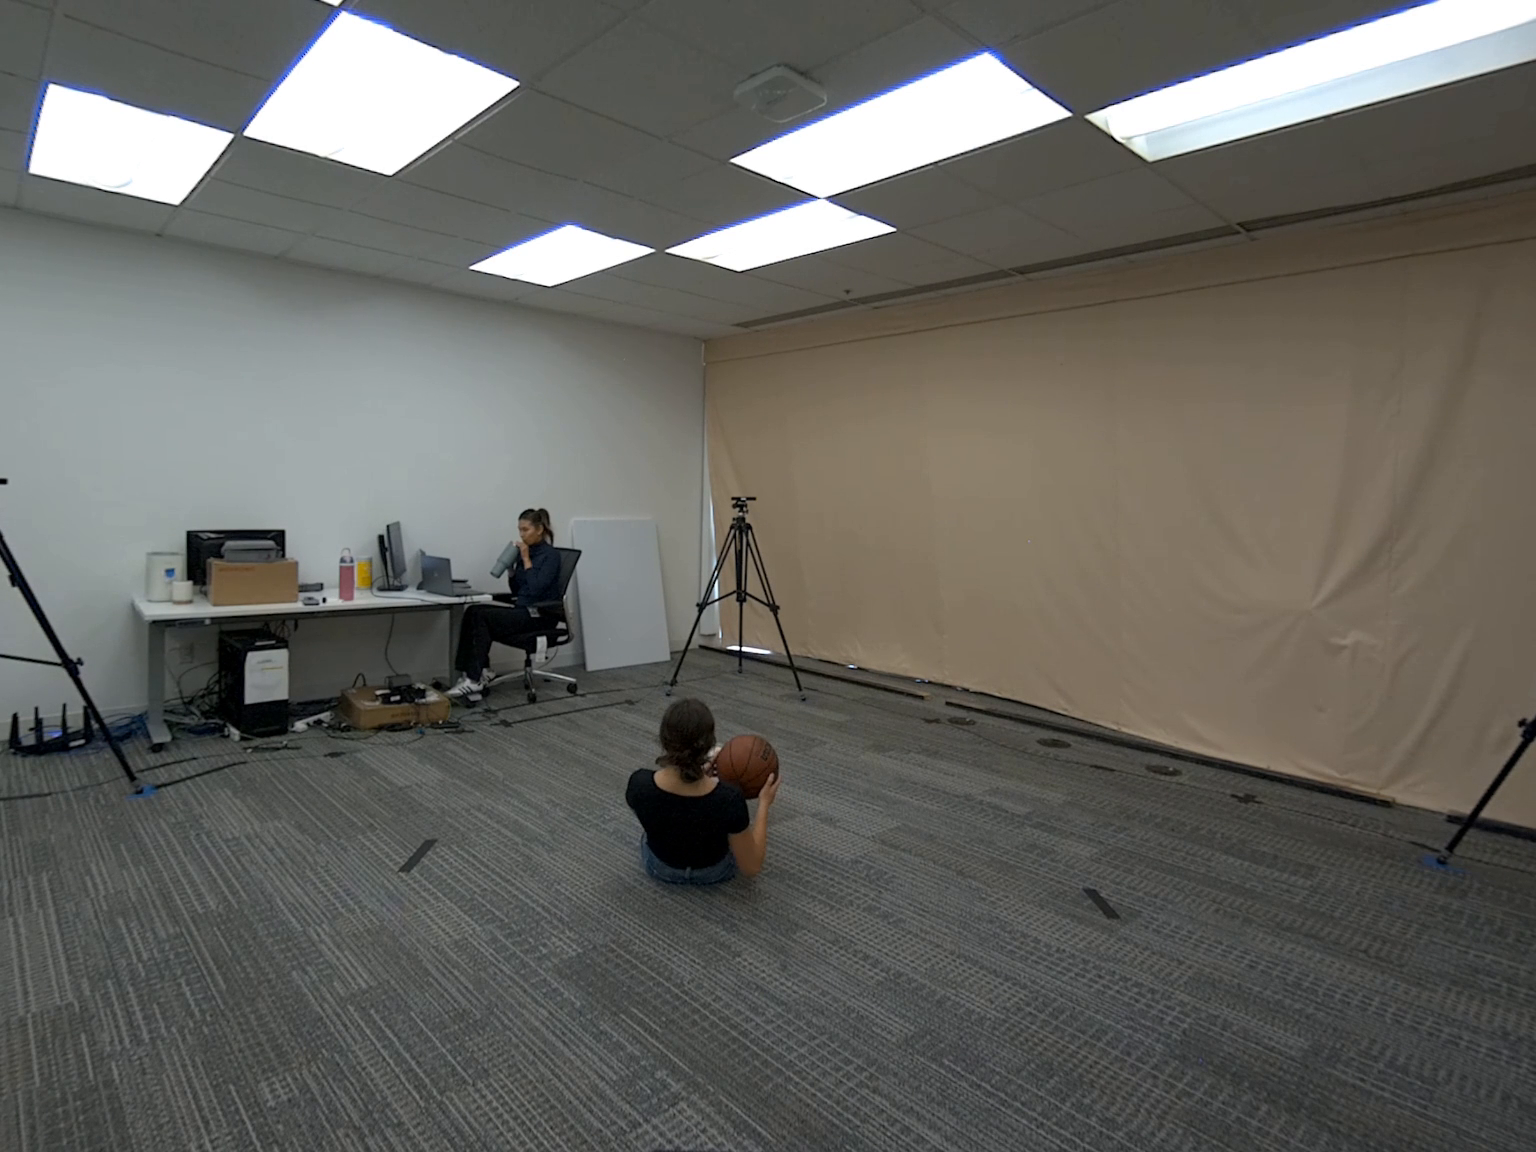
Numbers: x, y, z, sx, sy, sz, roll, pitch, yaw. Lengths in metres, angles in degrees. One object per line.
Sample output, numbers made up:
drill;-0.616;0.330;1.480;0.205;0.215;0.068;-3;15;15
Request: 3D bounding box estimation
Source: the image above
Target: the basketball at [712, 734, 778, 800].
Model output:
basketball;-0.084;0.720;3.168;0.236;0.235;0.237;1;4;-1
